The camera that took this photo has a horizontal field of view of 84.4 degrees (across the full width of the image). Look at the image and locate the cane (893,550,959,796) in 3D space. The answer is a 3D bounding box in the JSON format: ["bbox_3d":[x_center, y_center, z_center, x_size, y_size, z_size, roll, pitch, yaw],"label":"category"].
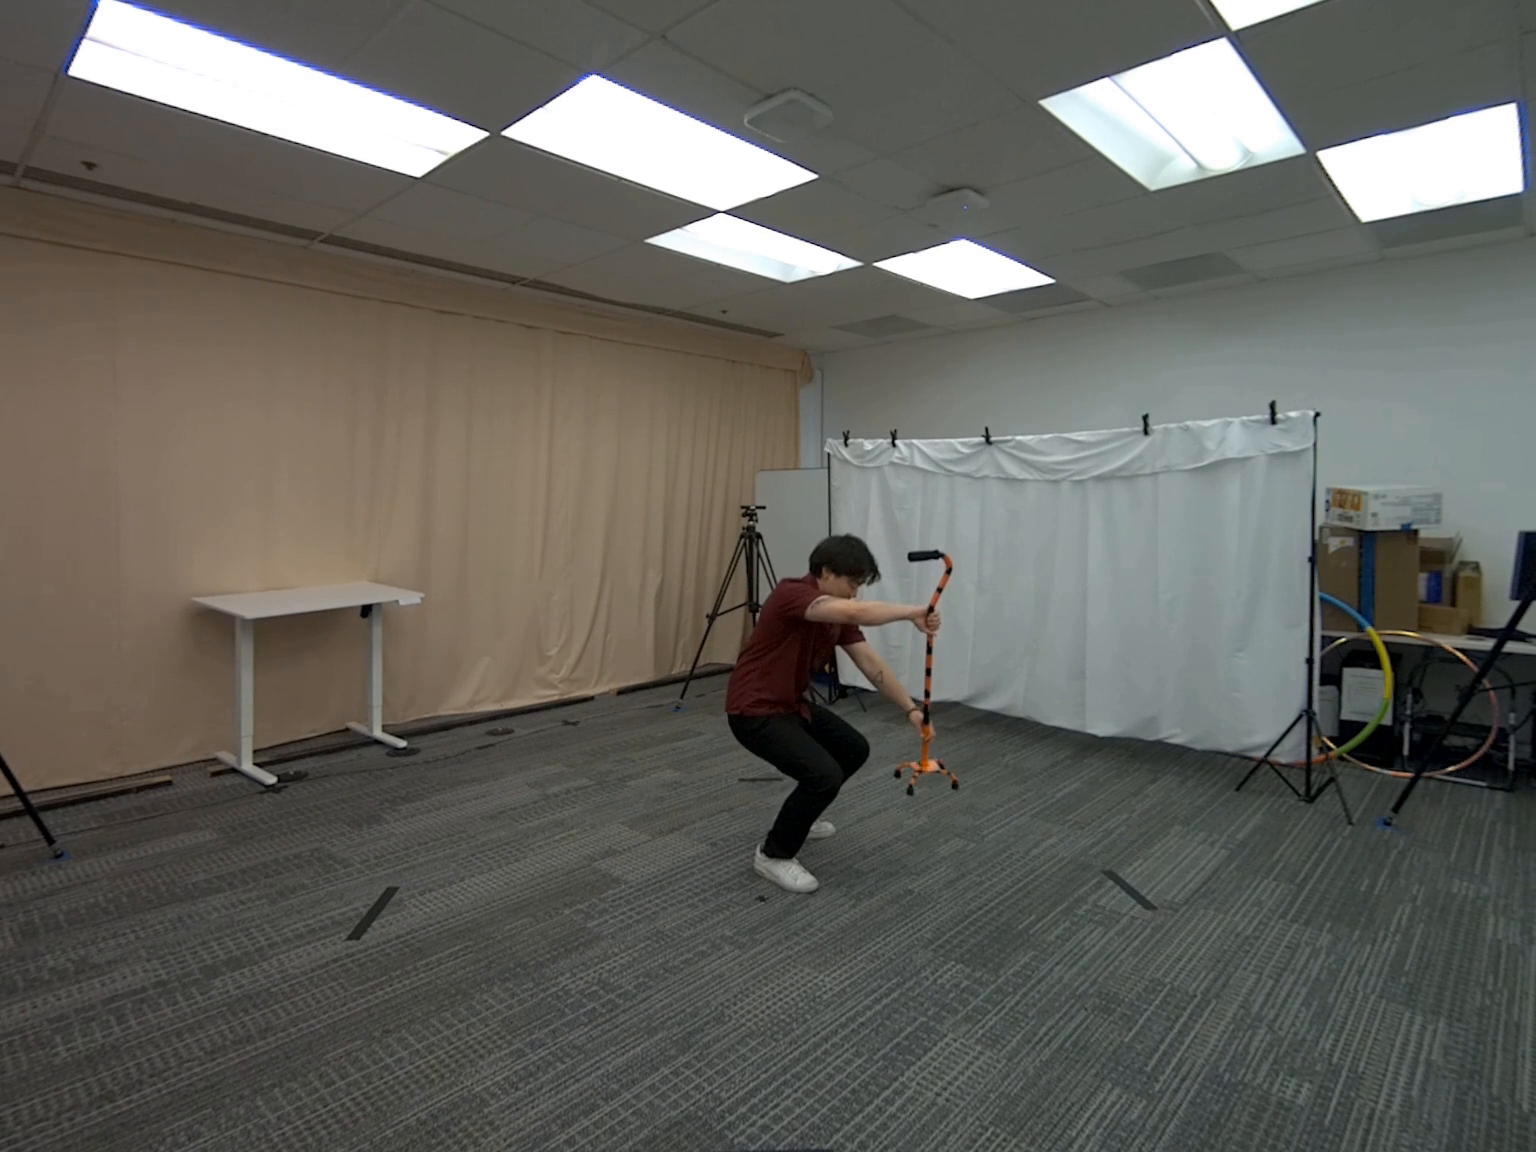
[{"bbox_3d":[0.599,0.348,3.059,0.204,0.899,0.155,-6,15,-14],"label":"cane"}]
